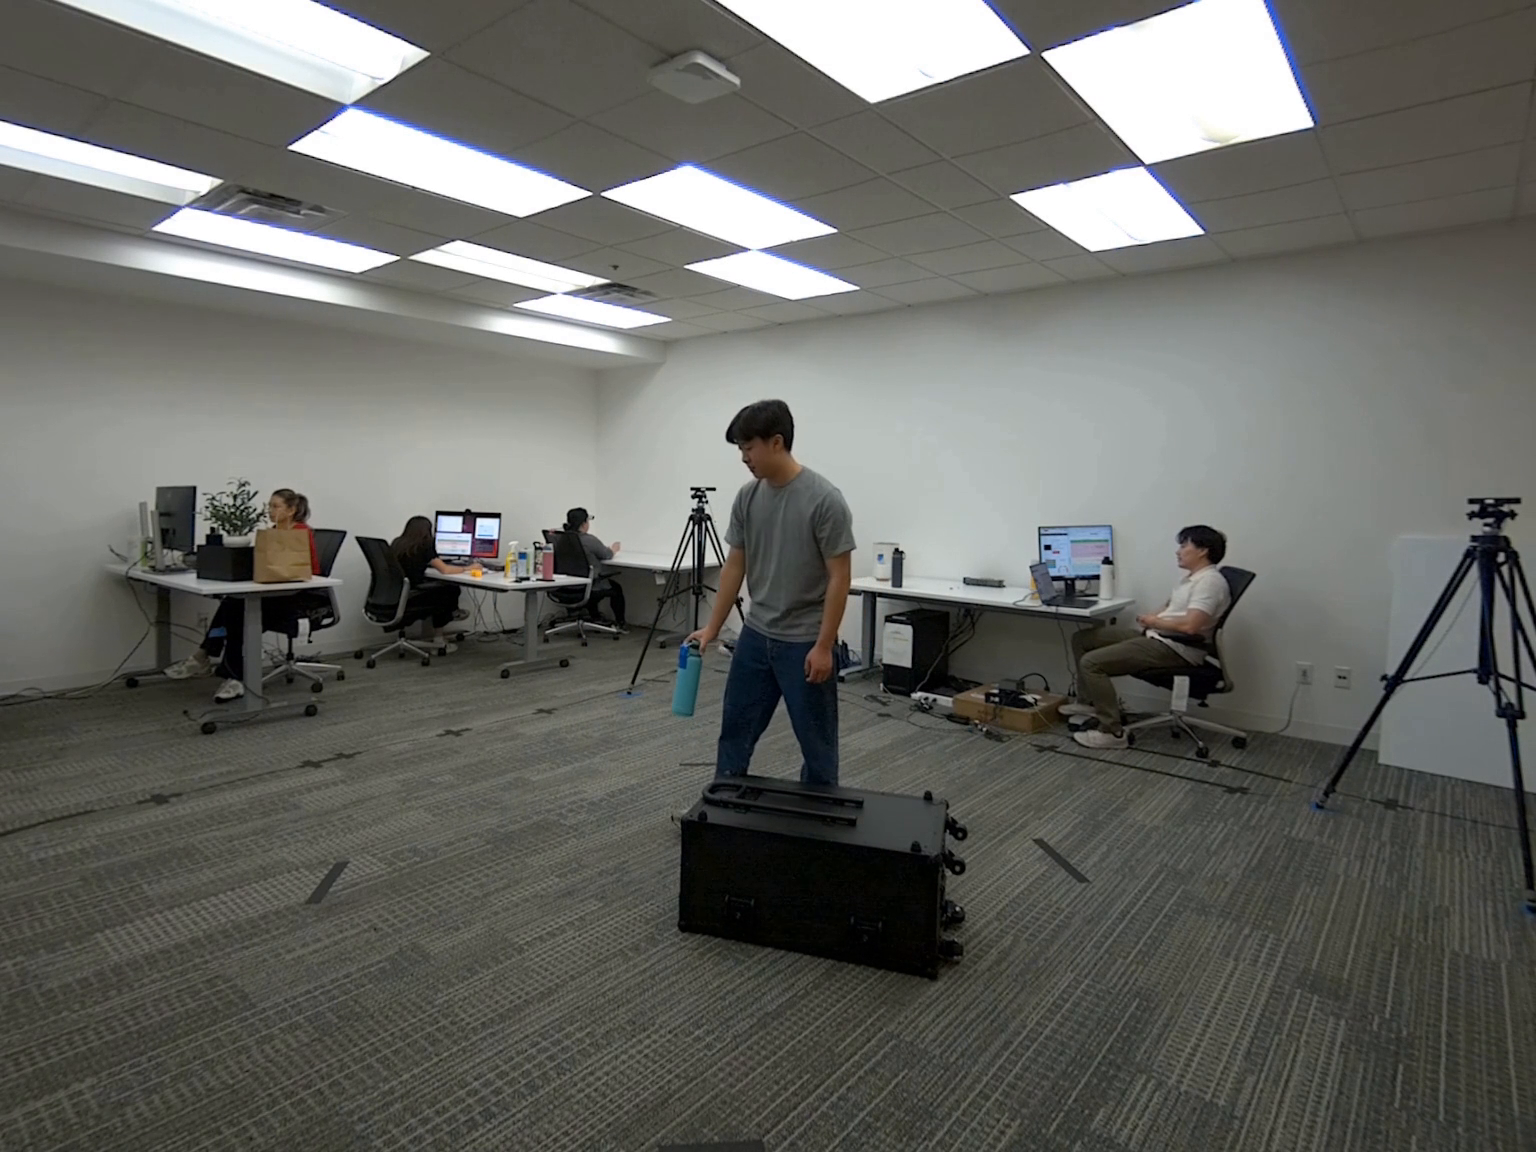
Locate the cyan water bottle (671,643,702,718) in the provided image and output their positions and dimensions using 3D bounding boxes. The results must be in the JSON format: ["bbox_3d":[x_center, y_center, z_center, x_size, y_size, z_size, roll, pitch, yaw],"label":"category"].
[{"bbox_3d":[-0.315,0.387,3.238,0.092,0.283,0.092,8,1,-2],"label":"cyan water bottle"}]
